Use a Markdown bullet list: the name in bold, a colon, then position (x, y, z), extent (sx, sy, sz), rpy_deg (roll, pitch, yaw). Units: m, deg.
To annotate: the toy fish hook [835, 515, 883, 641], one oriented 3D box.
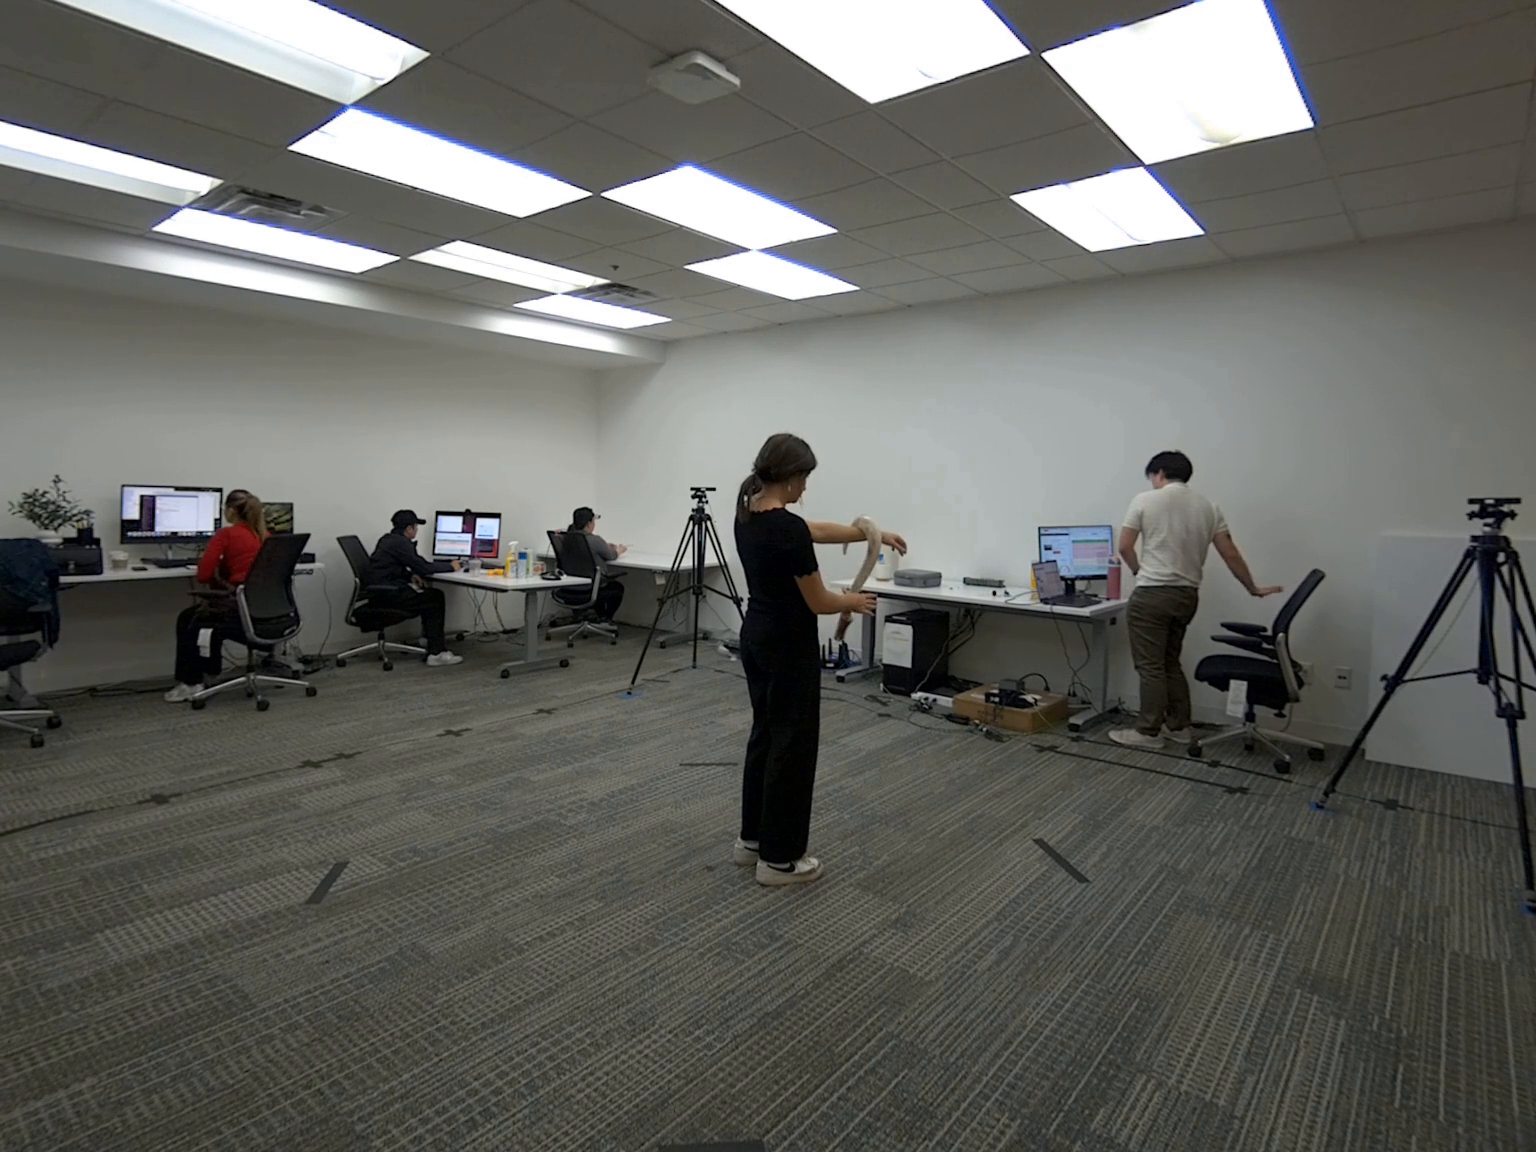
- **toy fish hook**: position (0.313, -0.002, 3.317), extent (0.047, 0.500, 0.233), rpy_deg (8, 22, -24)
